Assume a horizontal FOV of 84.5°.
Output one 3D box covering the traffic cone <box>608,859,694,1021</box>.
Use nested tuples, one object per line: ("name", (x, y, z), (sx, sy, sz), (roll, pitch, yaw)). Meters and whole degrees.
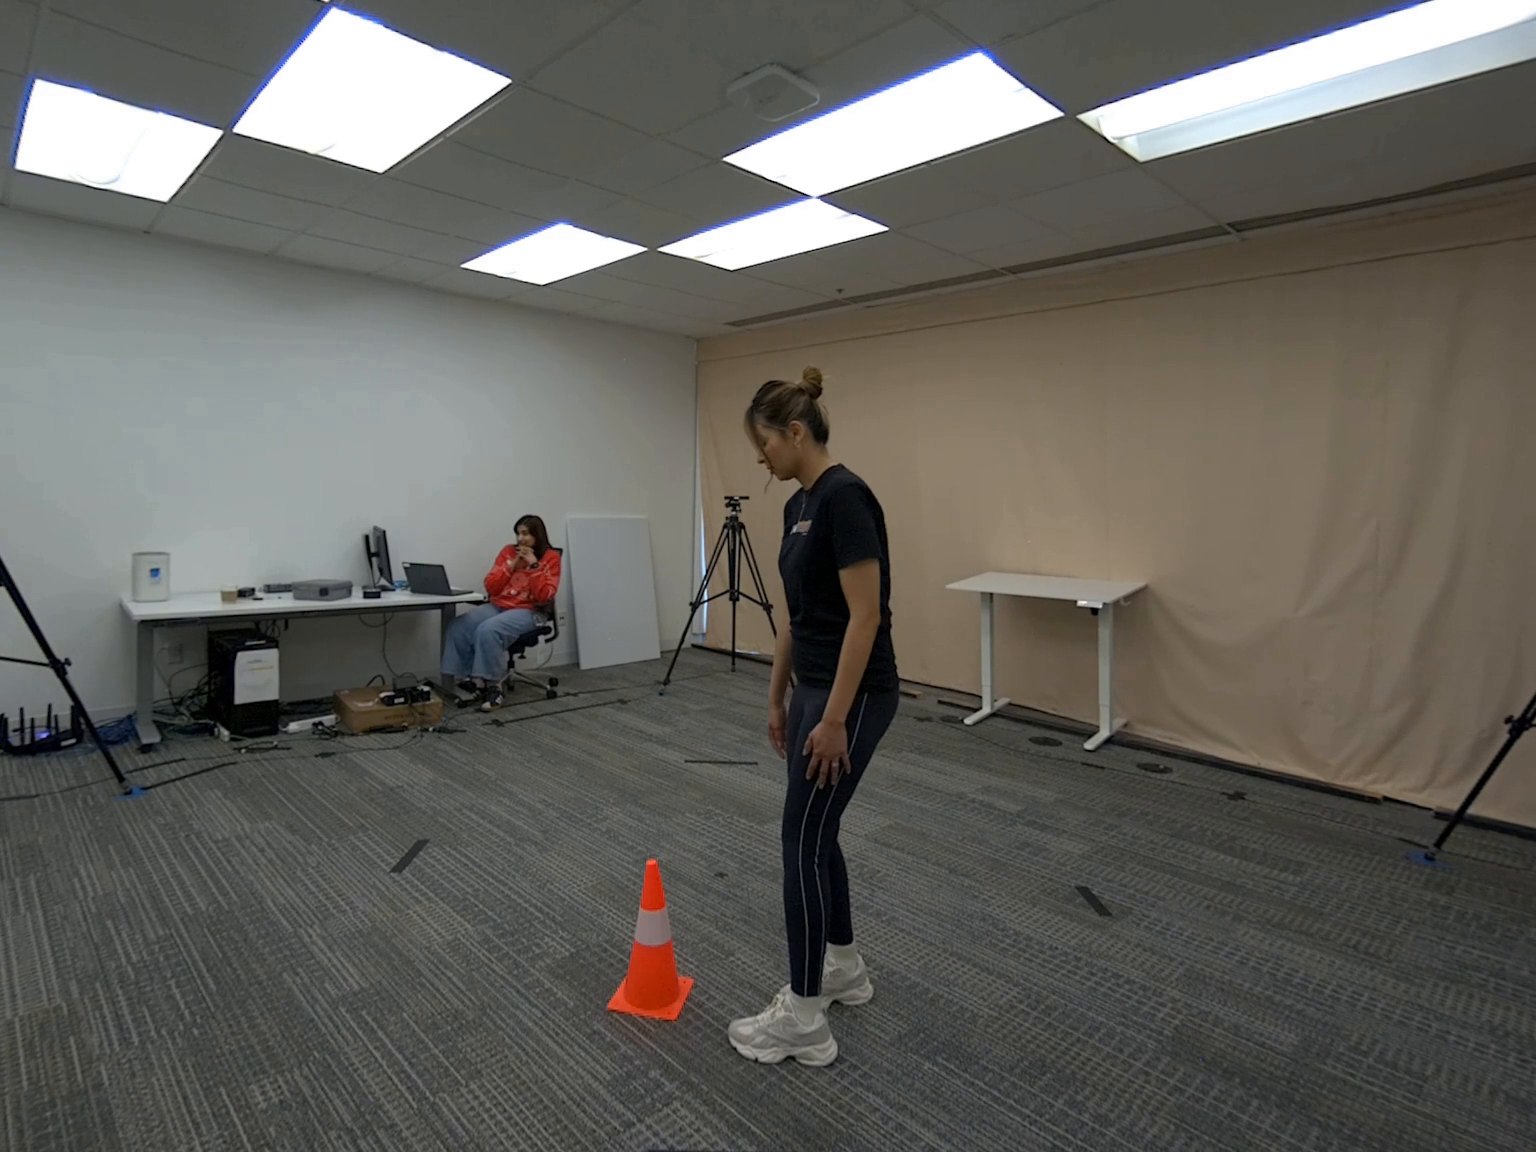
("traffic cone", (-0.325, 0.987, 2.336), (0.206, 0.382, 0.203), (3, 4, 15))
